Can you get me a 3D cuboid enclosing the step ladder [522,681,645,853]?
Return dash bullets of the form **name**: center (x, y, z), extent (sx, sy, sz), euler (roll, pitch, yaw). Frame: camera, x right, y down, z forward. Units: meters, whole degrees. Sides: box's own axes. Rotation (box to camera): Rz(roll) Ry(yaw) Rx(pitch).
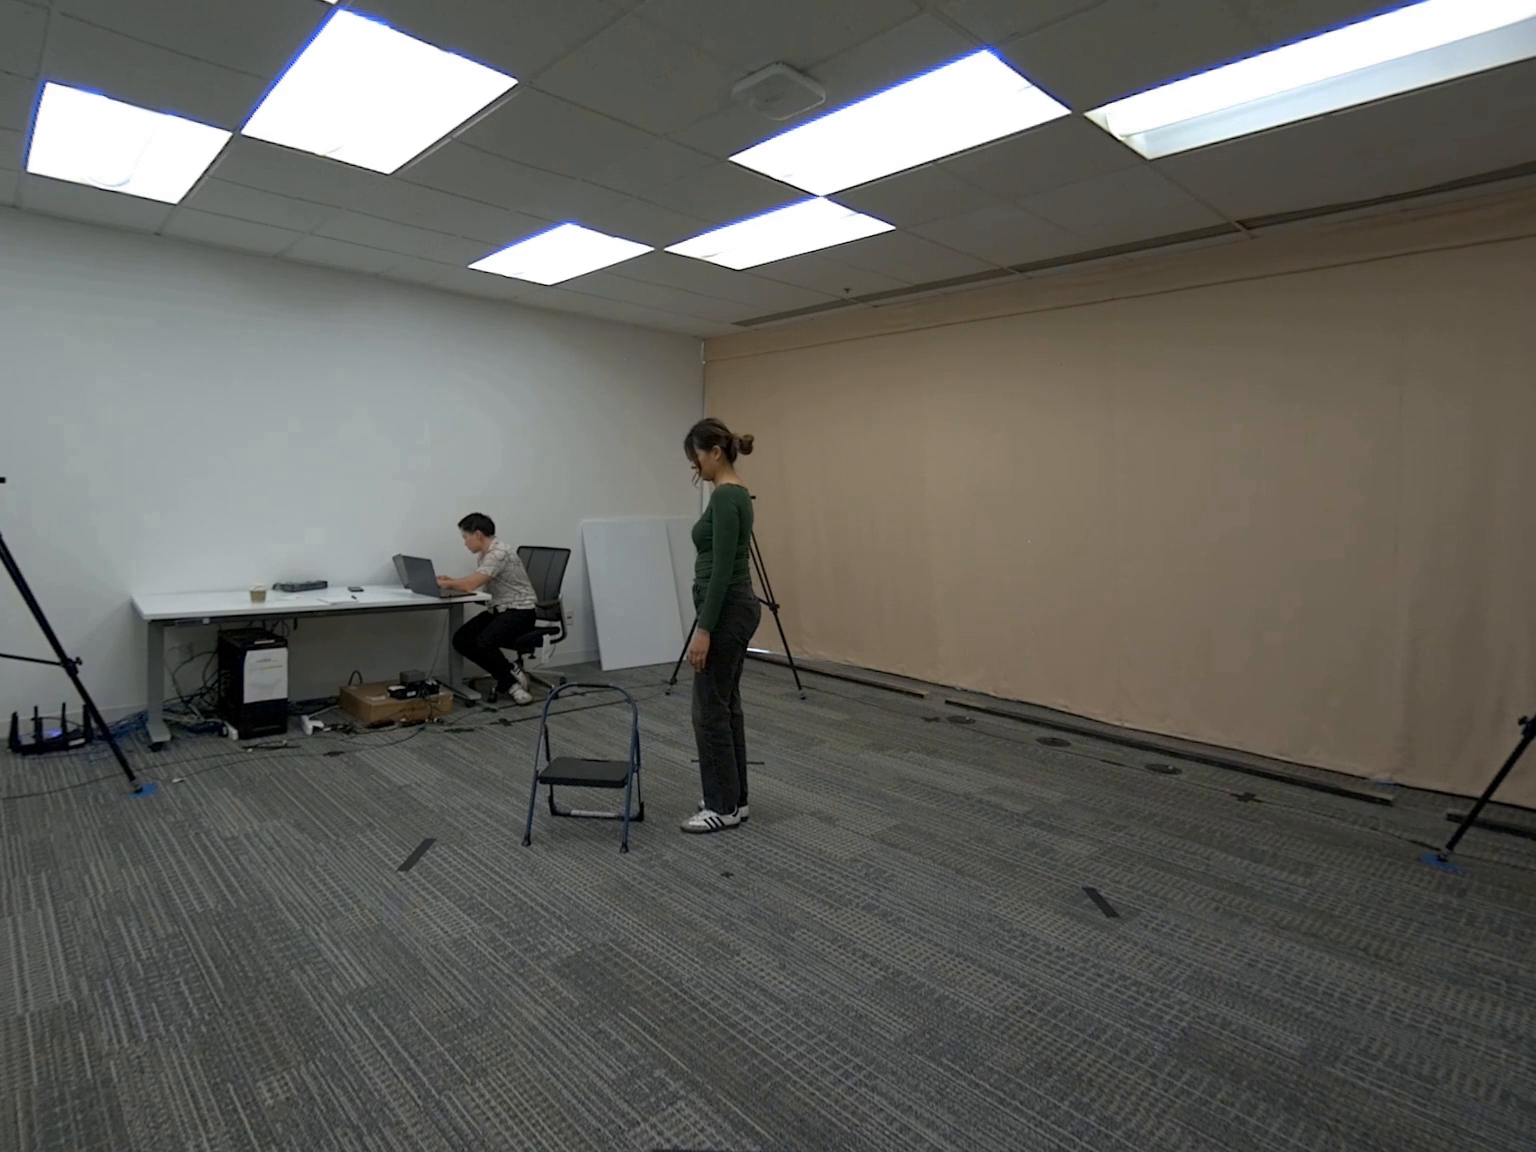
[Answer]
- **step ladder**: center (-0.745, 0.755, 3.448), extent (0.433, 0.604, 0.349), euler (2, 4, 5)
